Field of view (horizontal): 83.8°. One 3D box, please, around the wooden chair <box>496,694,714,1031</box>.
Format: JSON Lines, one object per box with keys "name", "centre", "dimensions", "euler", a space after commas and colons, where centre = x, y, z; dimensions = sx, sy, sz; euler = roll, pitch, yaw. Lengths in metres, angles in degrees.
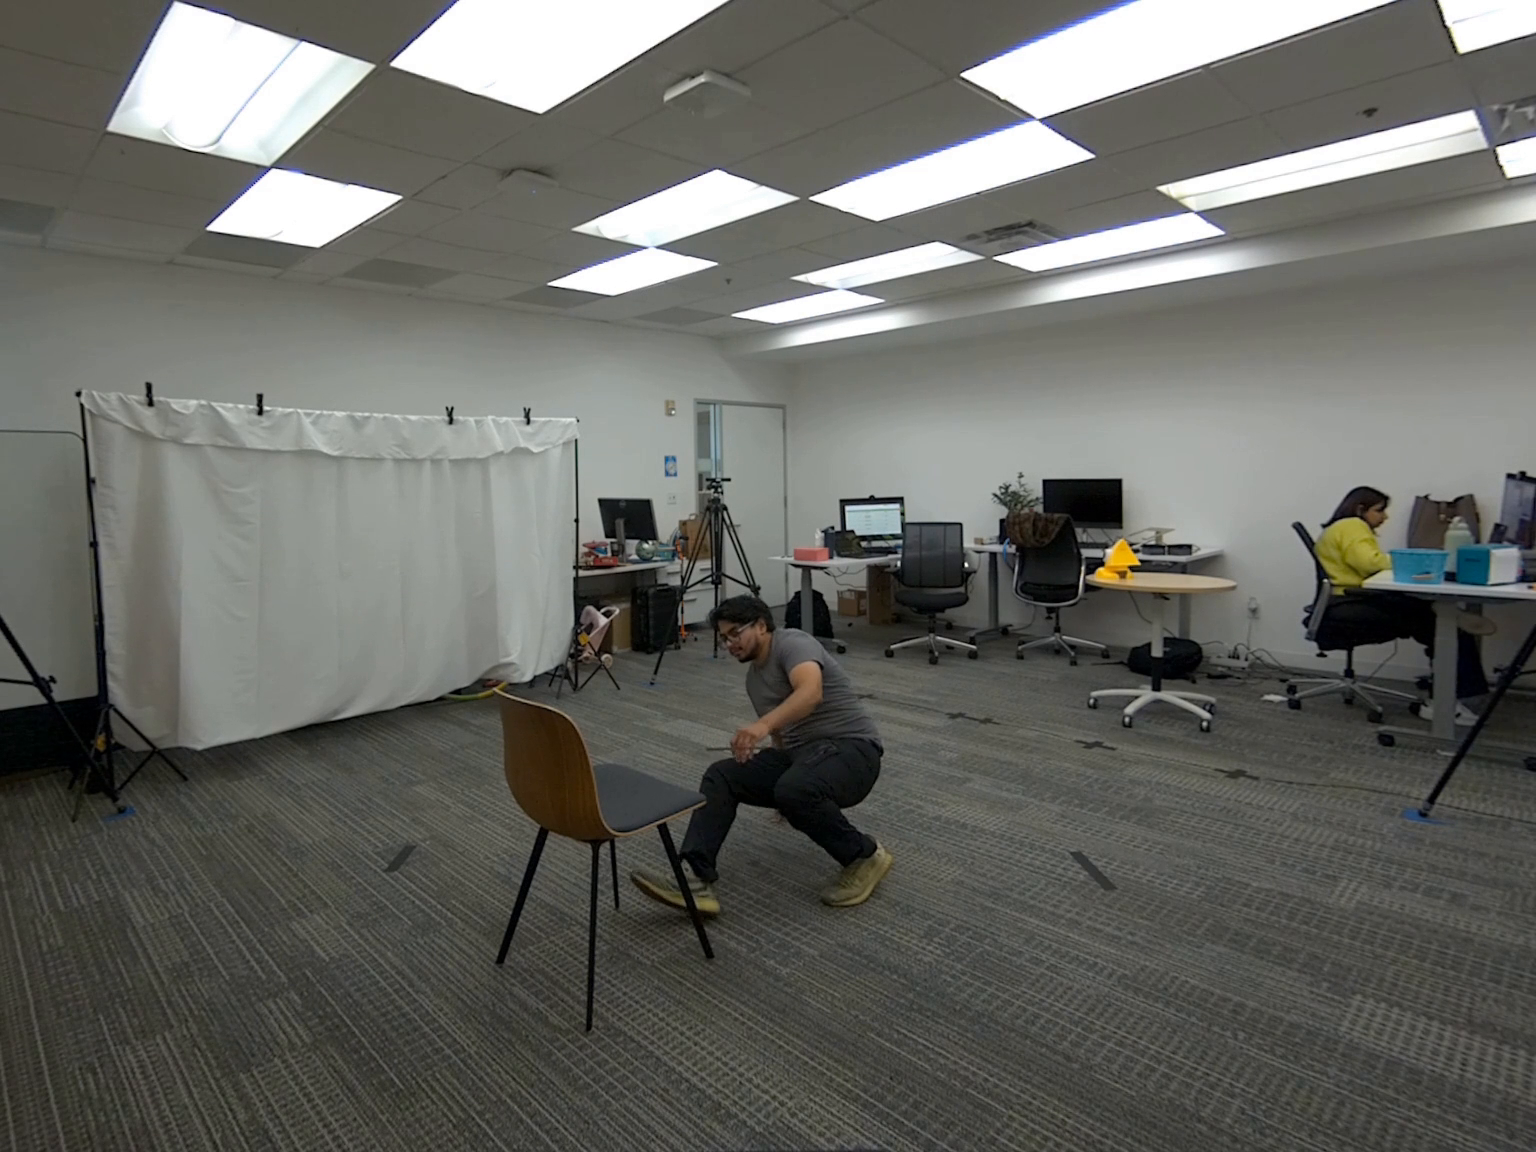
{"name": "wooden chair", "centre": [-0.475, 0.697, 2.461], "dimensions": [0.493, 0.871, 0.511], "euler": [3, 11, 43]}
